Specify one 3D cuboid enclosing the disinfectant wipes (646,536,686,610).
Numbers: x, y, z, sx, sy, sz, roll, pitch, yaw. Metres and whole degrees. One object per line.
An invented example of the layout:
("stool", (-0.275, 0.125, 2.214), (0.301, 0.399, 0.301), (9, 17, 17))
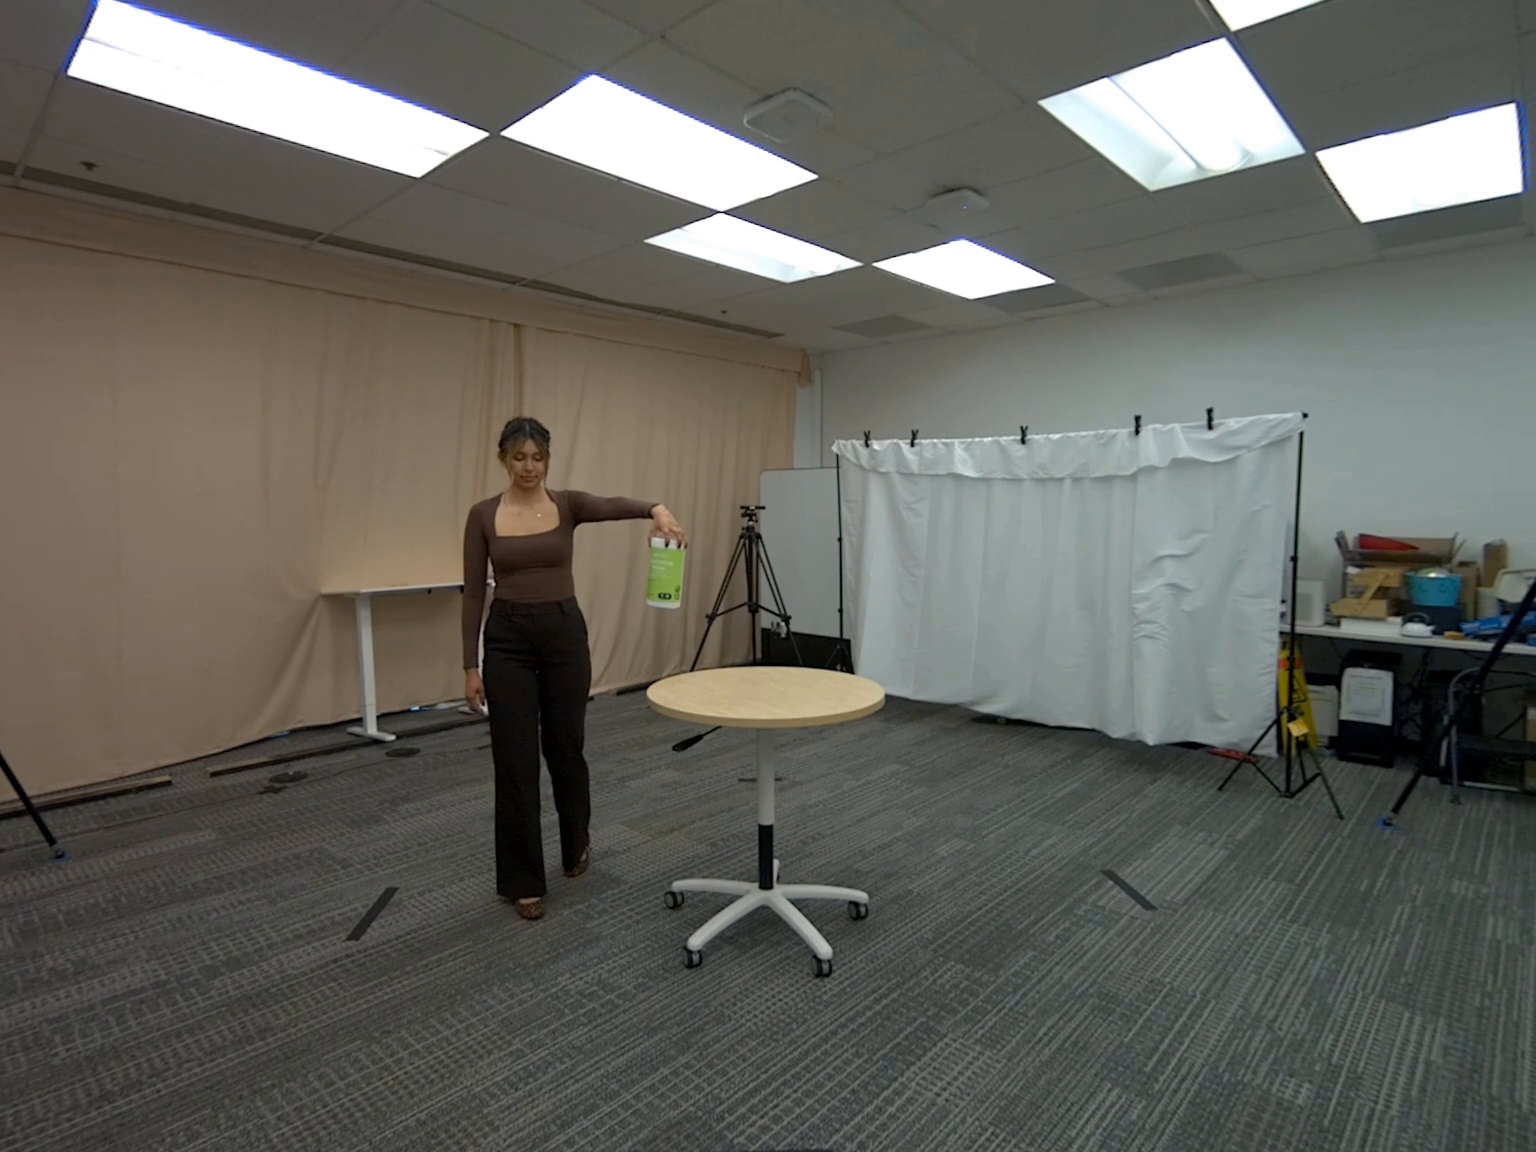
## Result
("disinfectant wipes", (-0.317, -0.011, 2.638), (0.117, 0.217, 0.118), (4, 4, -2))
